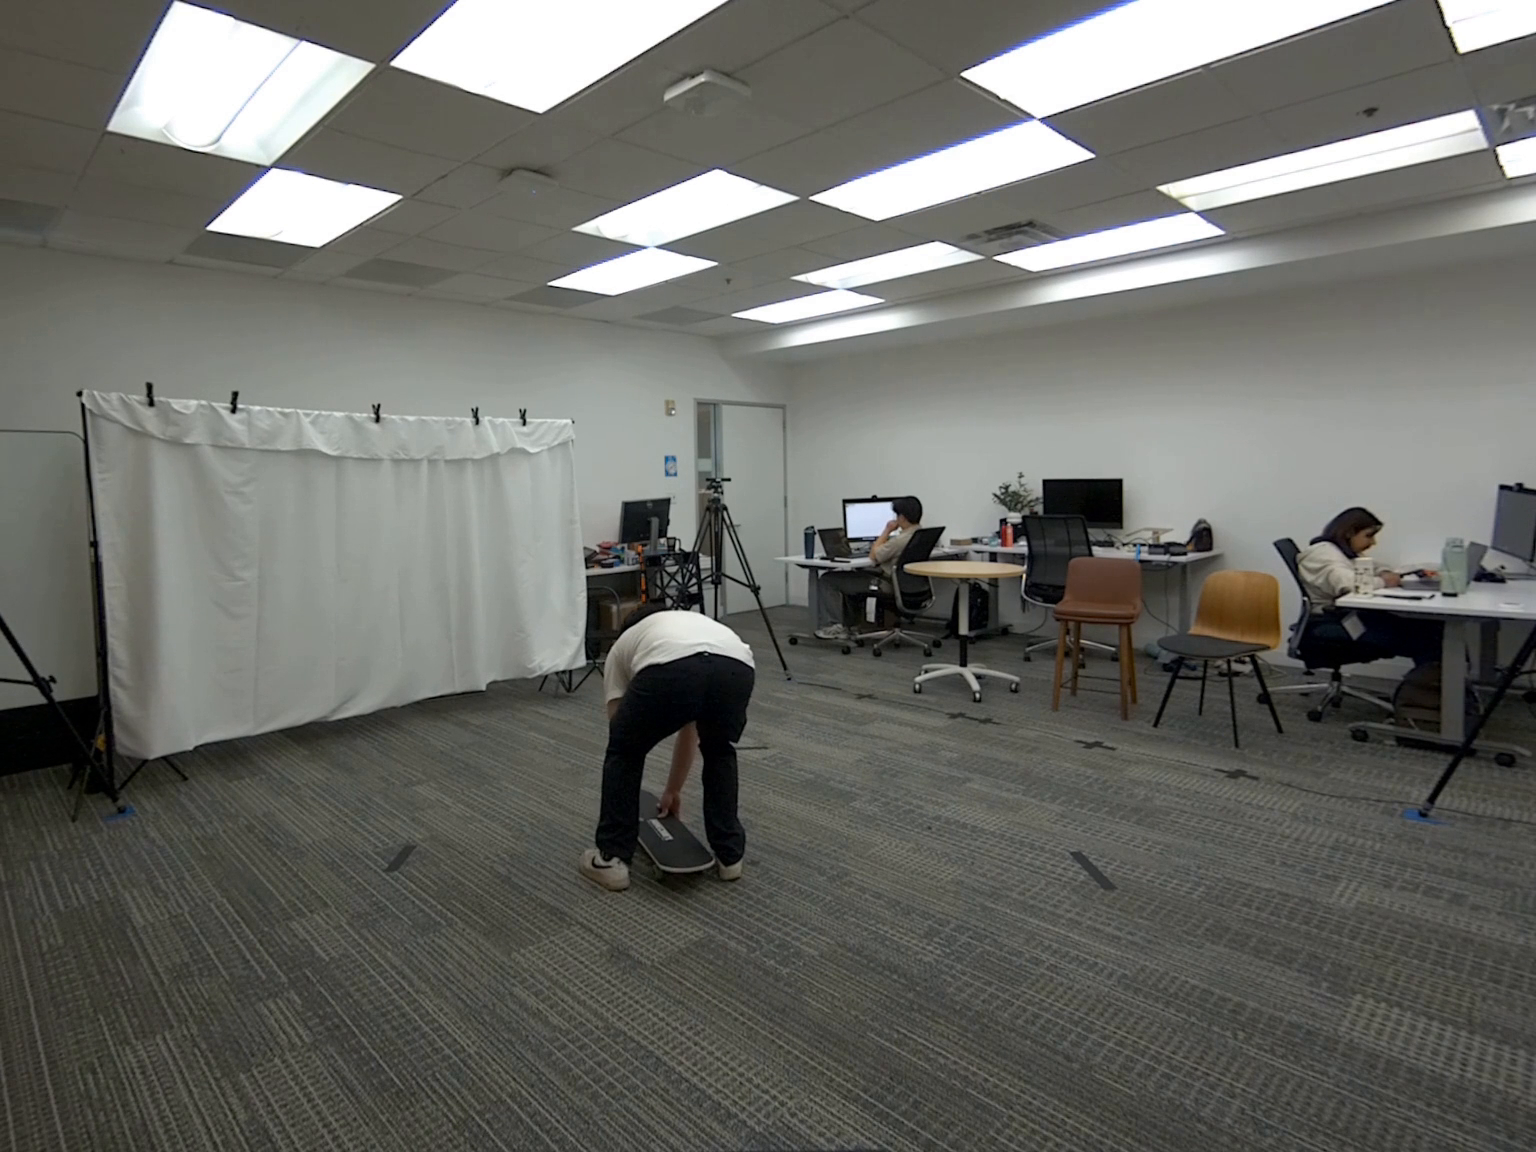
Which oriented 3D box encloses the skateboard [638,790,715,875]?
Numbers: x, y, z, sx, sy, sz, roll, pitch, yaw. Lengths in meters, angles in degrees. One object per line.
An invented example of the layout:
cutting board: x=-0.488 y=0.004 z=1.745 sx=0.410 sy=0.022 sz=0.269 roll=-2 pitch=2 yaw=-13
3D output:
skateboard: x=-0.397 y=0.984 z=3.199 sx=0.190 sy=0.110 sz=0.804 roll=-4 pitch=7 yaw=-24
